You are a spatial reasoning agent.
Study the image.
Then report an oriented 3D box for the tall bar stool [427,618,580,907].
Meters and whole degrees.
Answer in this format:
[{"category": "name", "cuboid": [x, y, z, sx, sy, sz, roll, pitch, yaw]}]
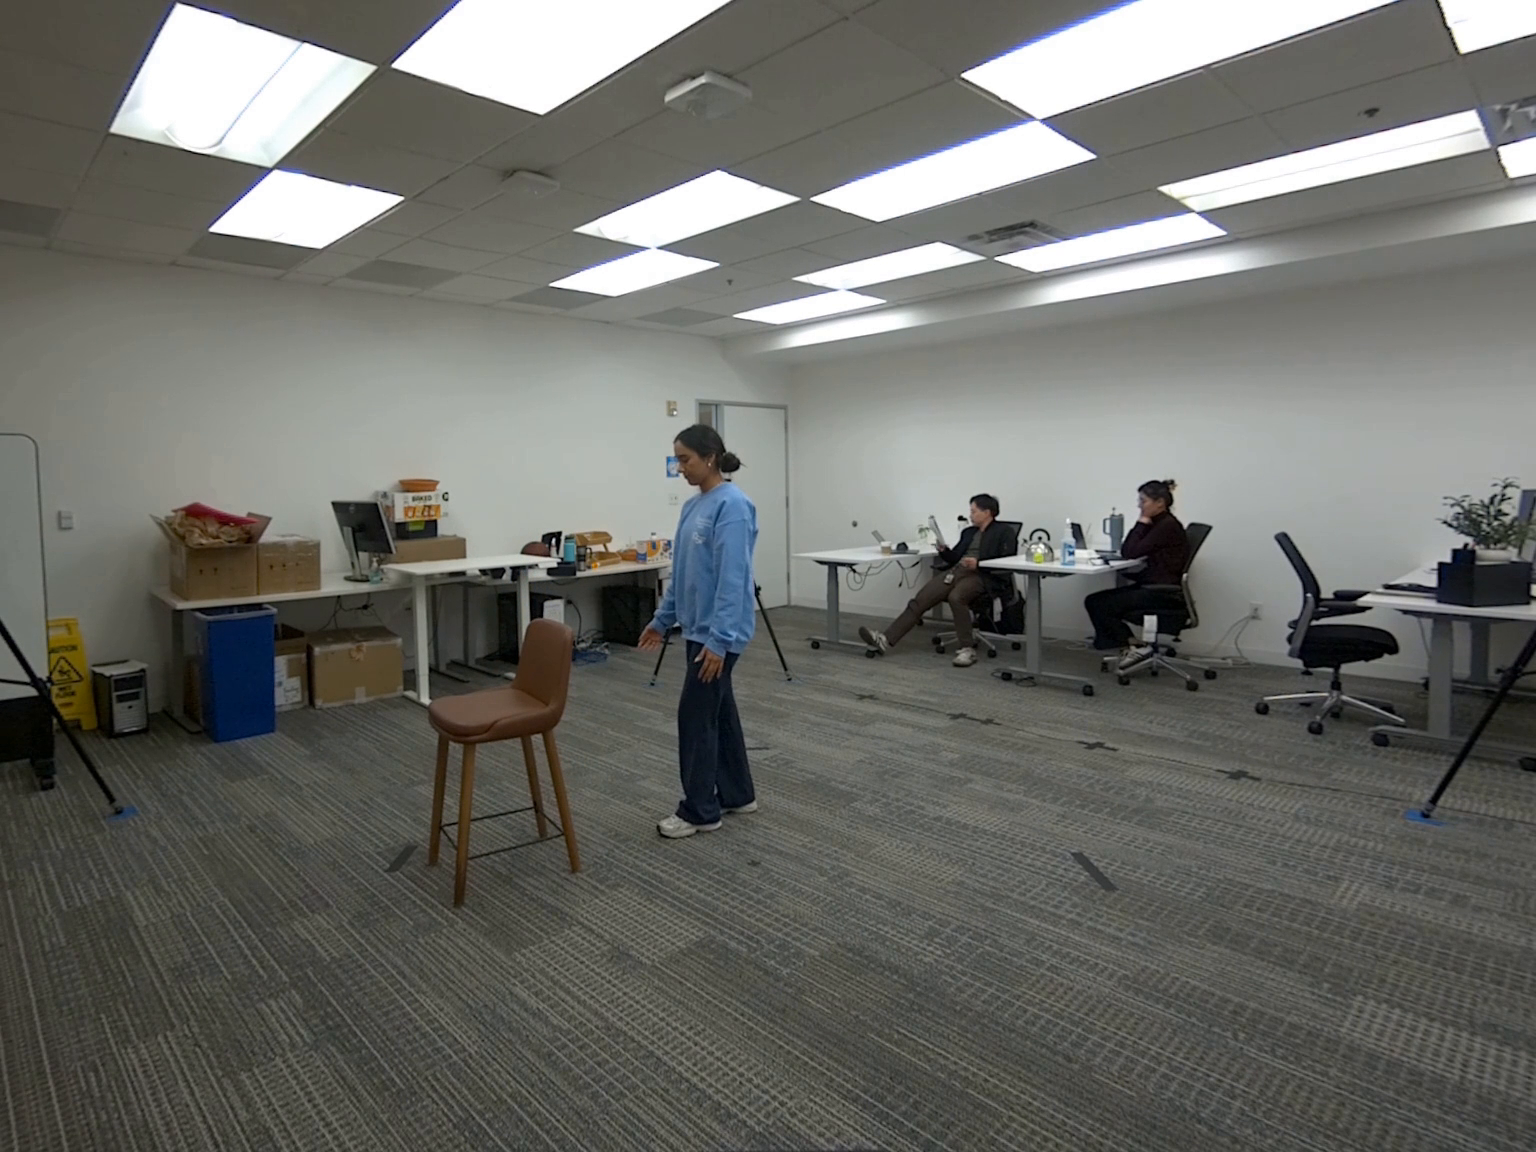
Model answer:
[{"category": "tall bar stool", "cuboid": [-0.954, 0.624, 3.080, 0.456, 0.887, 0.470, -1, 4, -33]}]
